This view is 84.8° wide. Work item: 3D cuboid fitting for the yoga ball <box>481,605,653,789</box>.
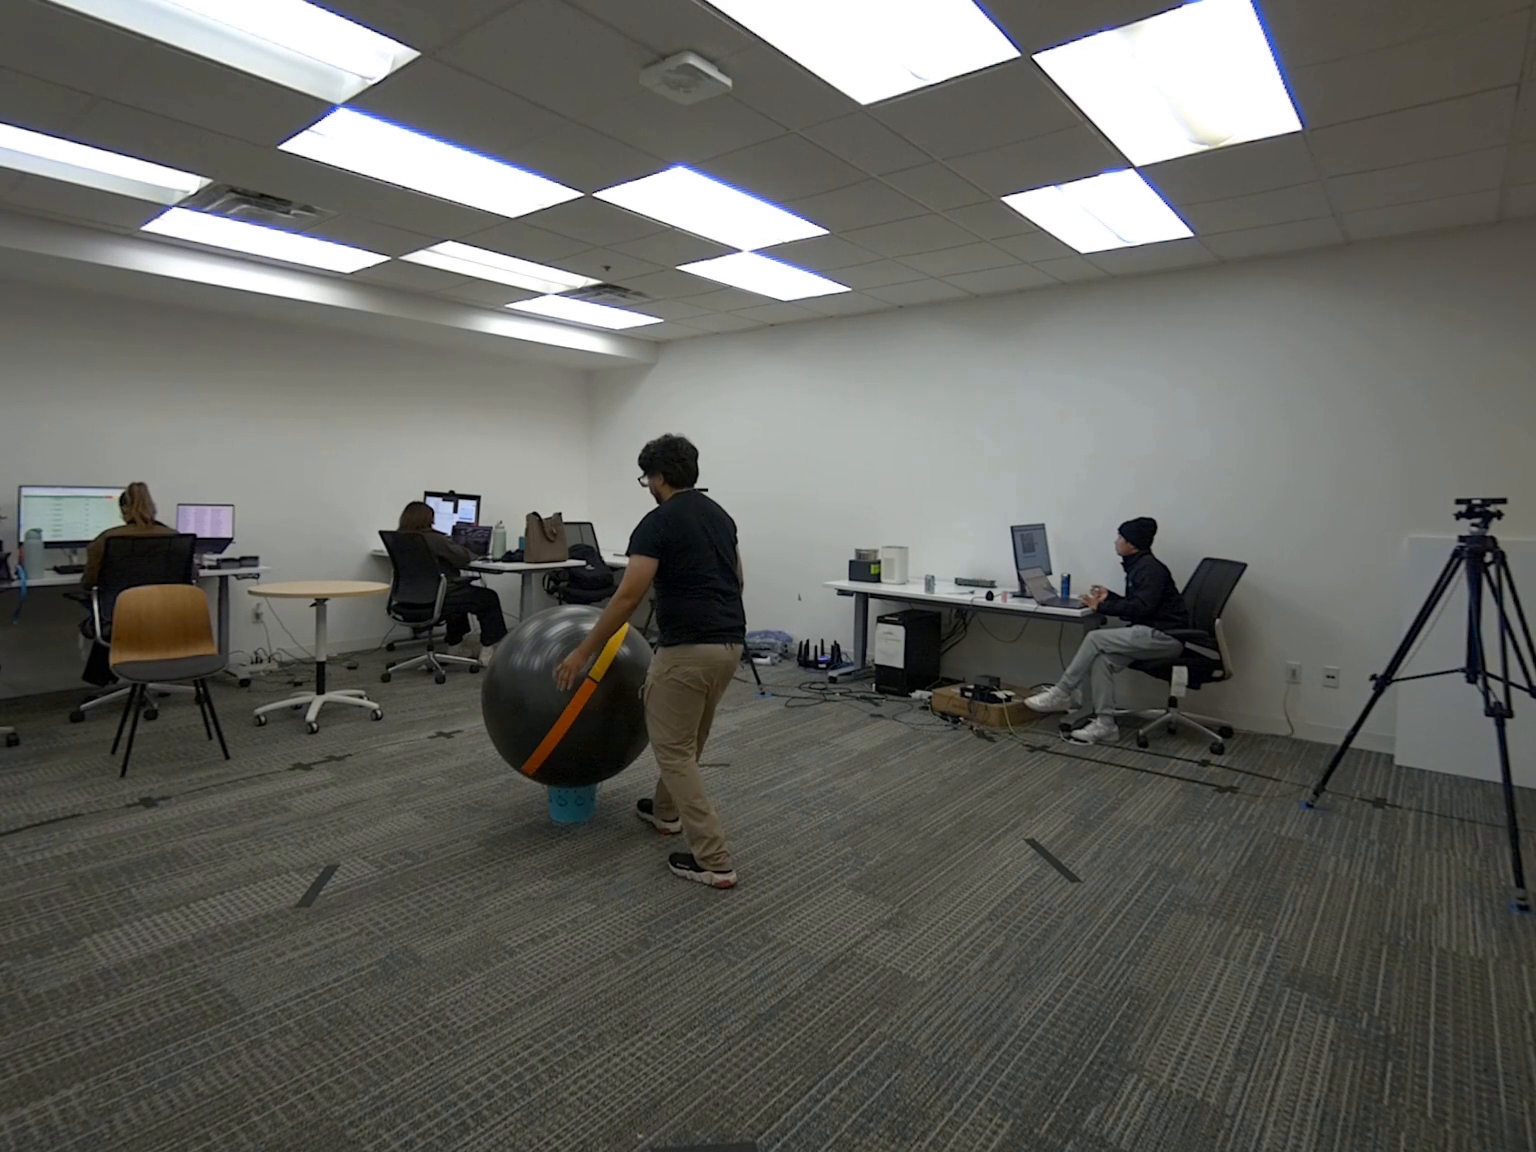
[{"bbox_3d":[-0.837,0.504,3.602,0.757,0.756,0.762,1,4,-2],"label":"yoga ball"}]
